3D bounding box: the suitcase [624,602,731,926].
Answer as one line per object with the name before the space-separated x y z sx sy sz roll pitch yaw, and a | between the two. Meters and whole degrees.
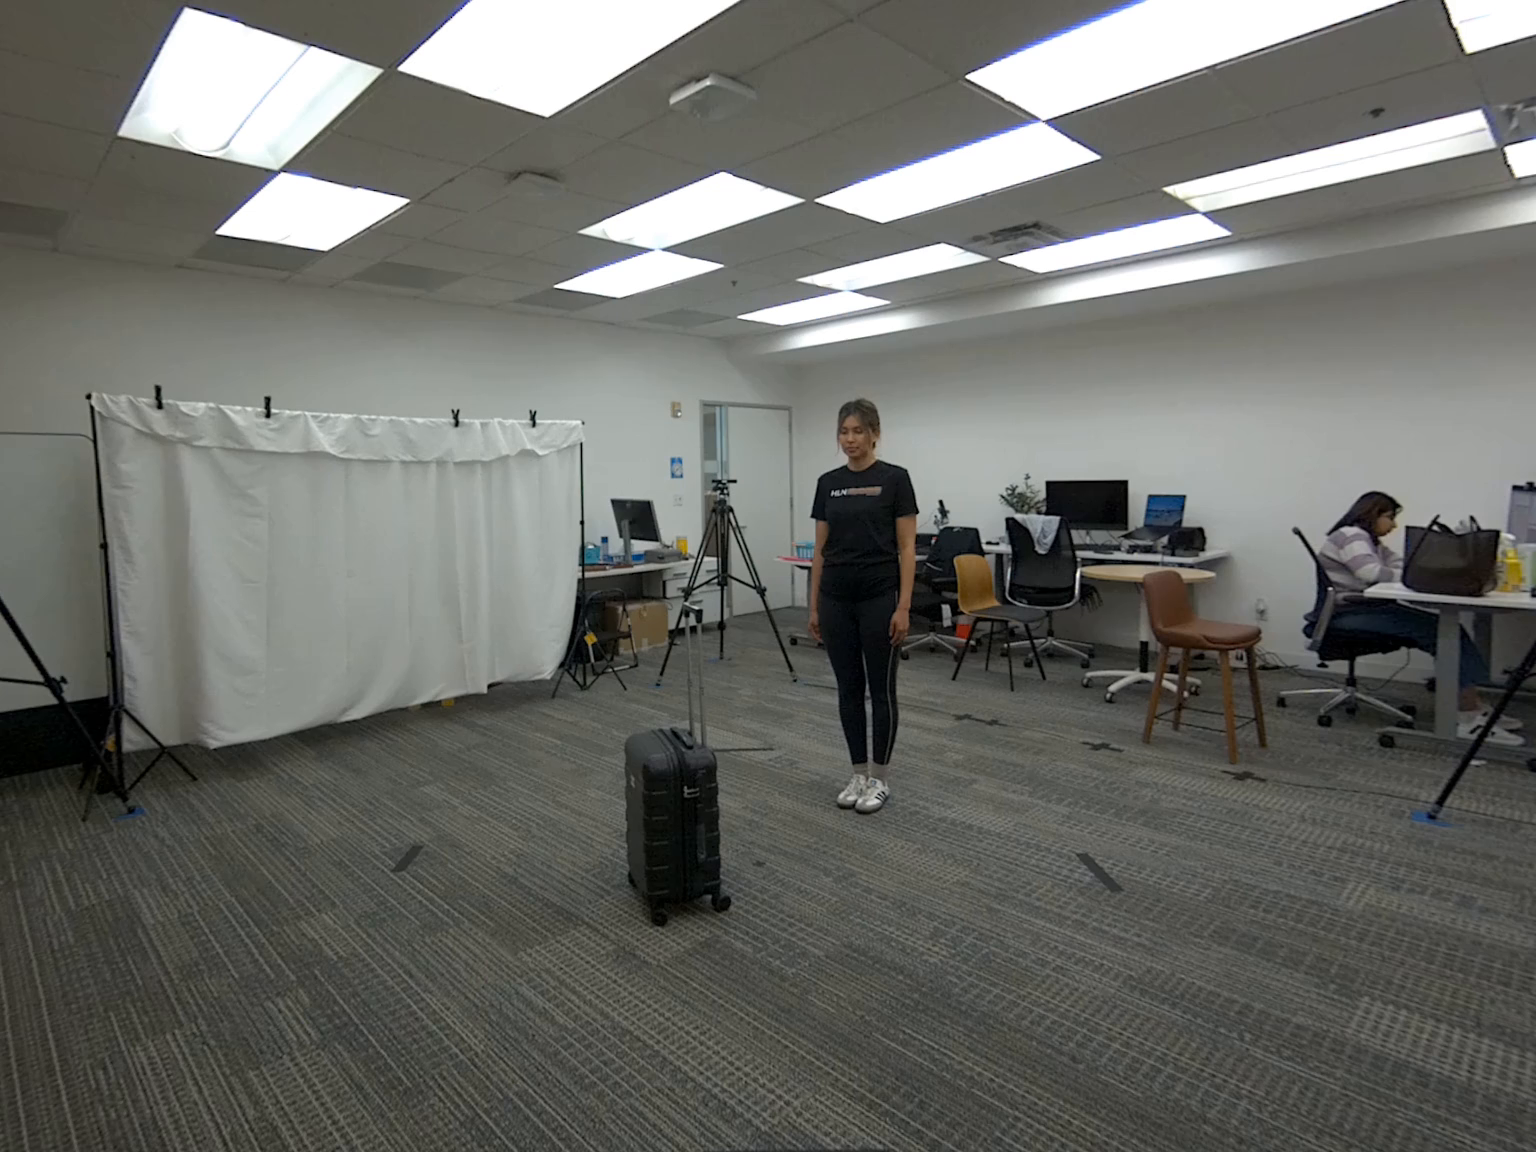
suitcase | -0.336 0.603 2.844 0.253 0.974 0.391 -5 5 -18
